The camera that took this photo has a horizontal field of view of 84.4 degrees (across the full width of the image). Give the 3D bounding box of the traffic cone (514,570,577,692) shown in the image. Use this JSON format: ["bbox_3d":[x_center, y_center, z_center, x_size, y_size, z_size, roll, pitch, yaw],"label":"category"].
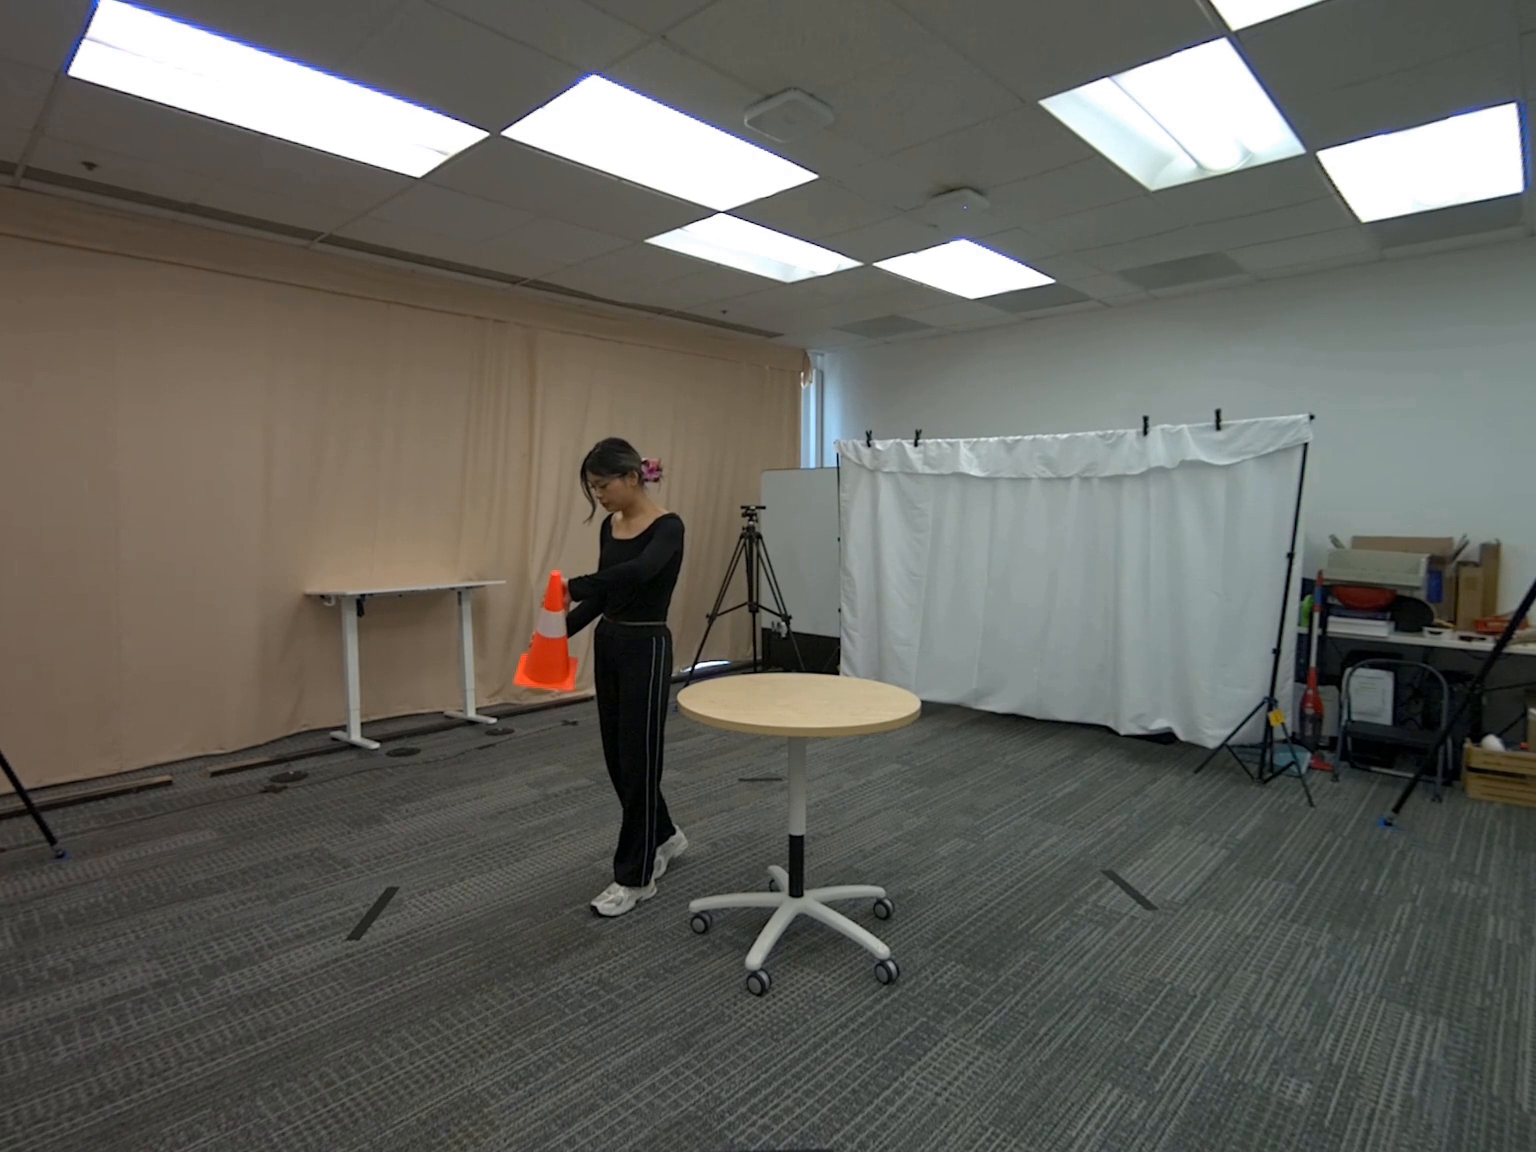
[{"bbox_3d":[-0.711,0.165,2.760,0.203,0.380,0.207,8,24,-8],"label":"traffic cone"}]
